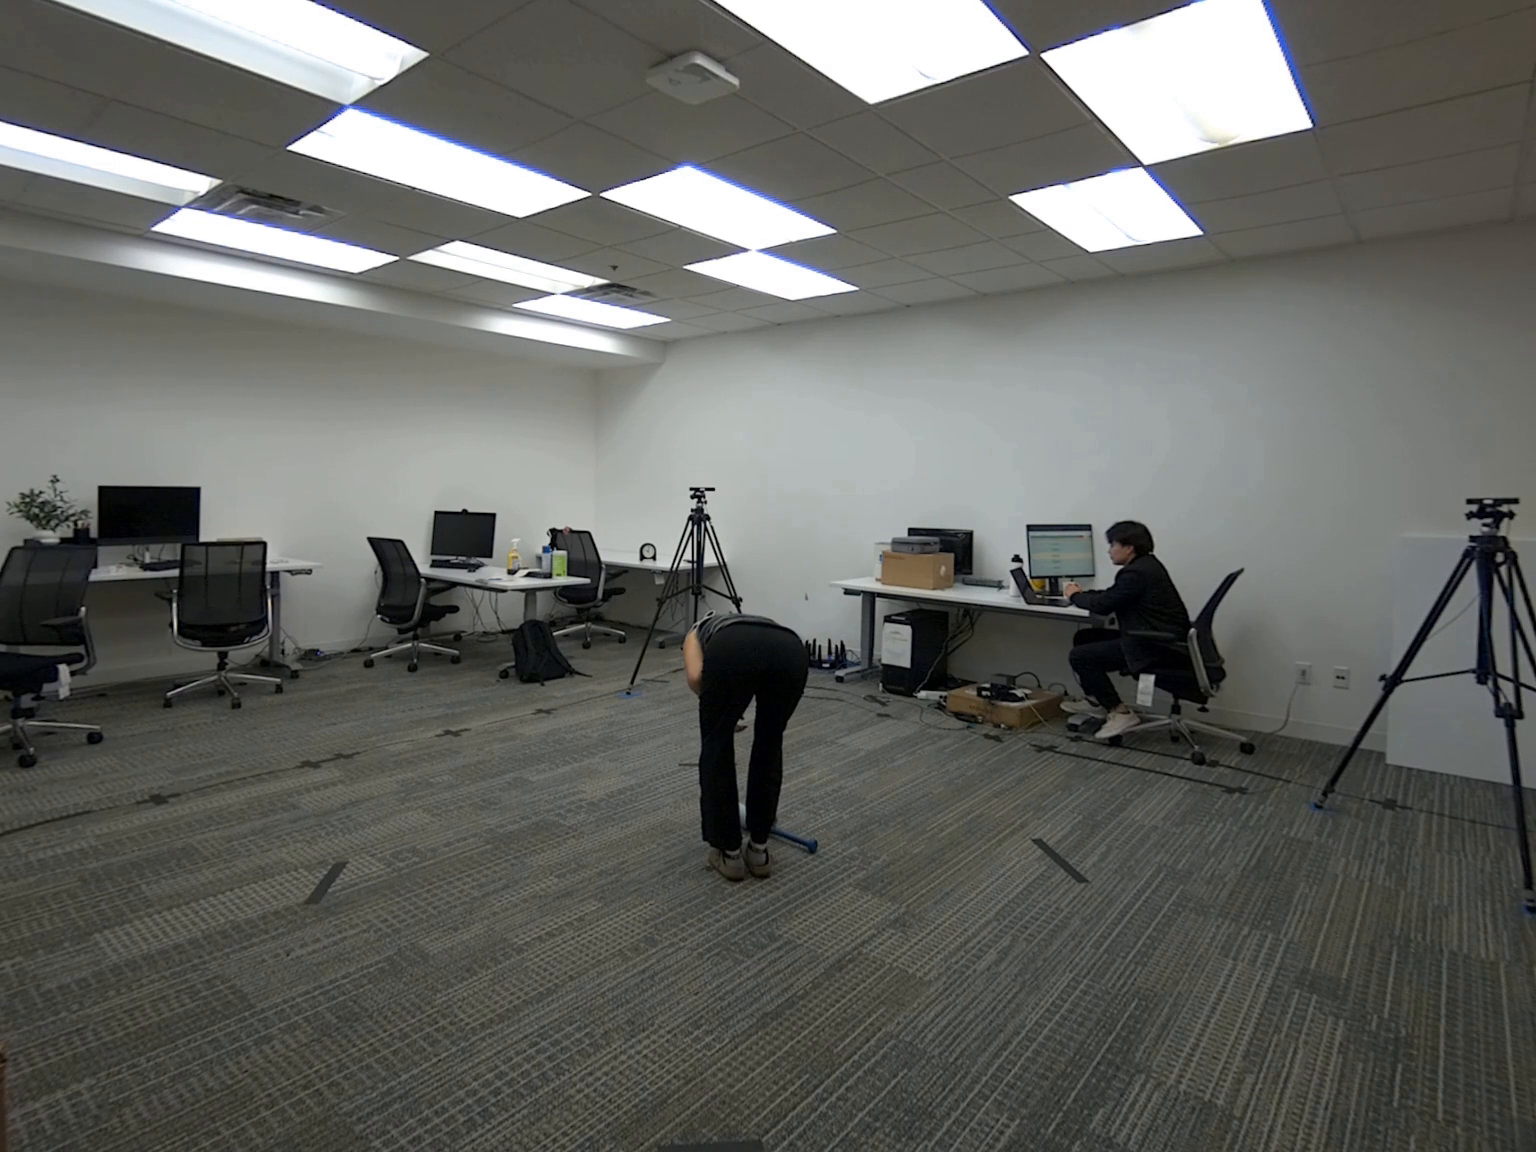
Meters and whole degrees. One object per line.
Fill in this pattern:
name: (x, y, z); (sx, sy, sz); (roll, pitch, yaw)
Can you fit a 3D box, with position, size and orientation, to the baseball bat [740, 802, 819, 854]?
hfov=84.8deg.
baseball bat: (-0.038, 0.999, 3.438); (0.562, 0.088, 0.086); (9, 9, 41)
